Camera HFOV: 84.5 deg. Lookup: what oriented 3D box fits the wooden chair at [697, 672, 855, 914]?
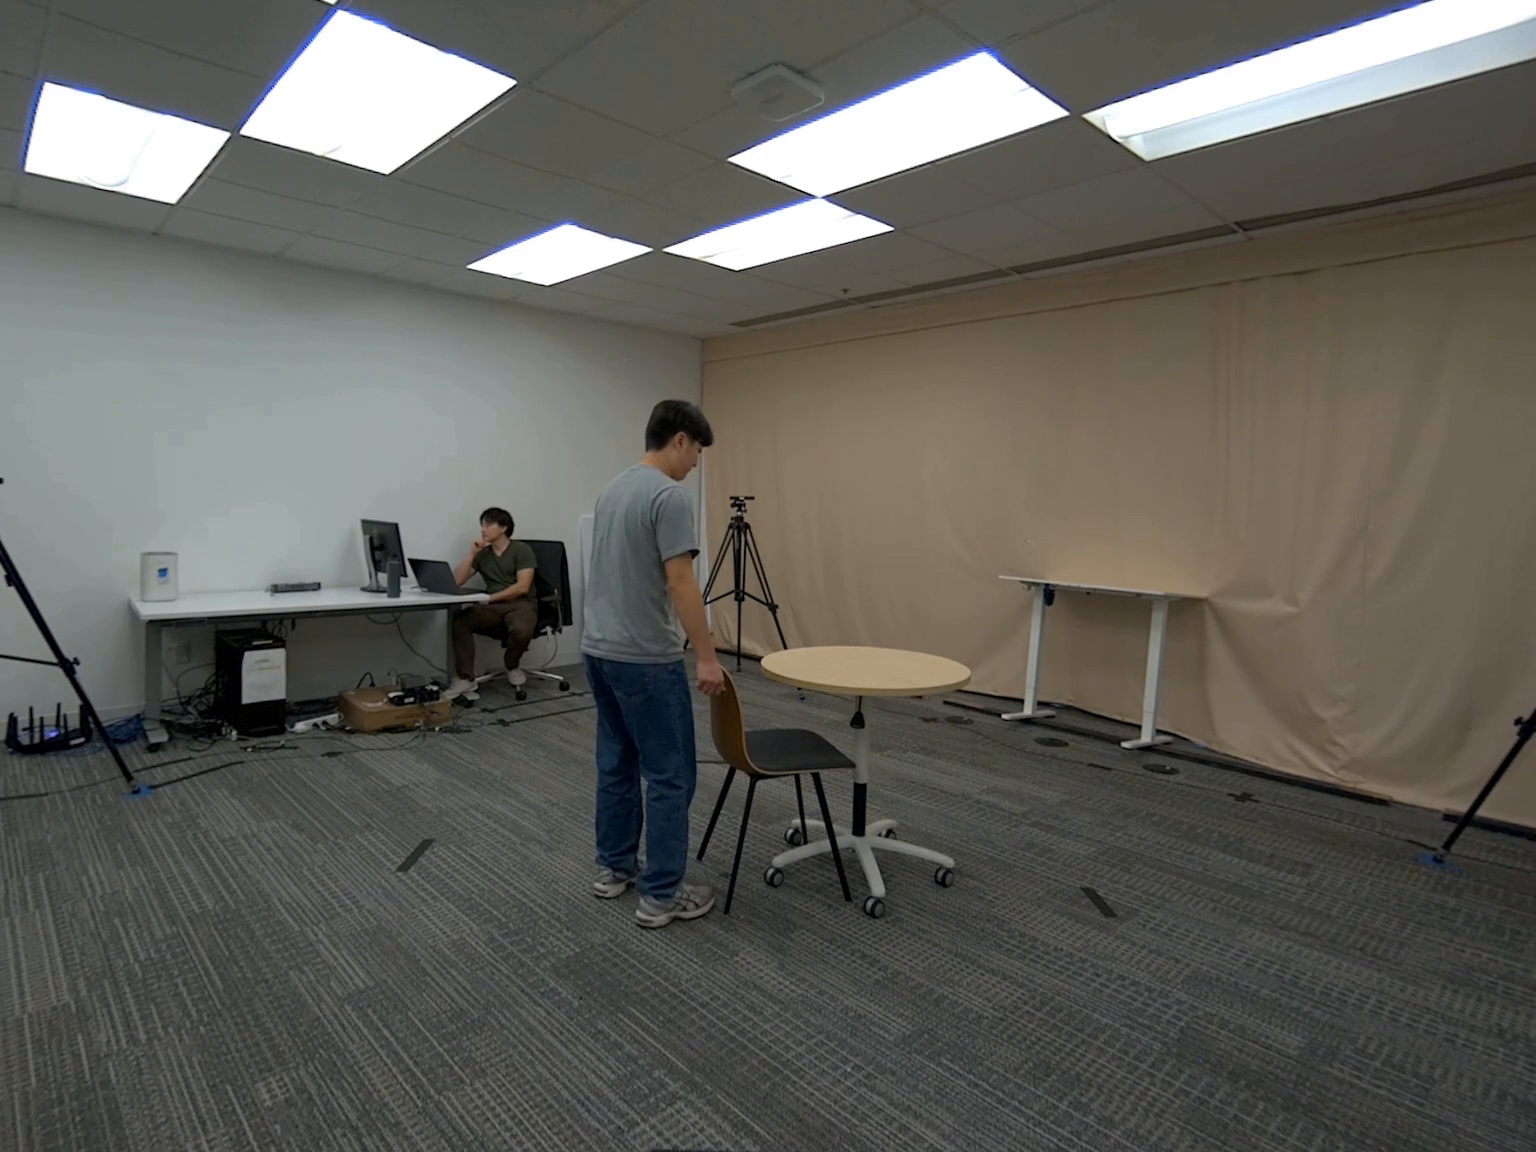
[{"bbox_3d":[0.014,0.684,3.046,0.517,0.874,0.485,-4,5,-16],"label":"wooden chair"}]
